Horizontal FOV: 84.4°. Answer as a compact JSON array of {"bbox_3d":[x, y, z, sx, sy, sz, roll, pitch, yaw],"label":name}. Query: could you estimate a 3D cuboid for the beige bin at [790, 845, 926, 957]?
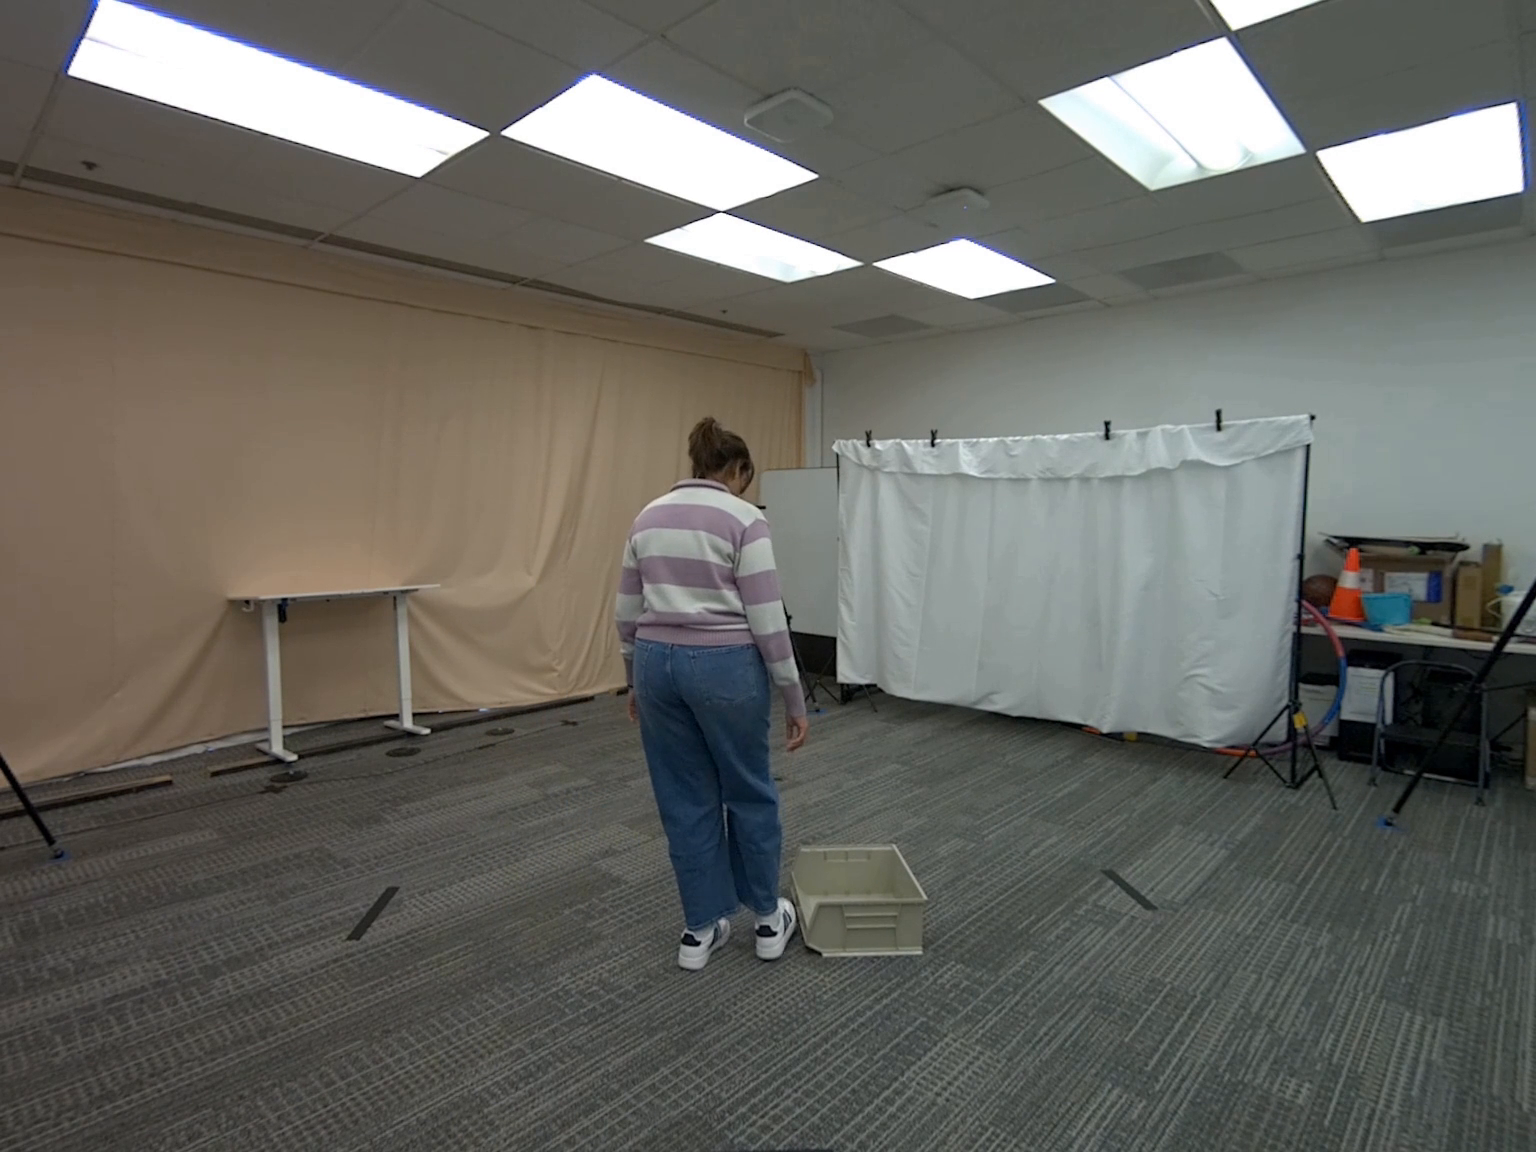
[{"bbox_3d":[0.298,1.073,2.797,0.376,0.188,0.425,0,4,-4],"label":"beige bin"}]
